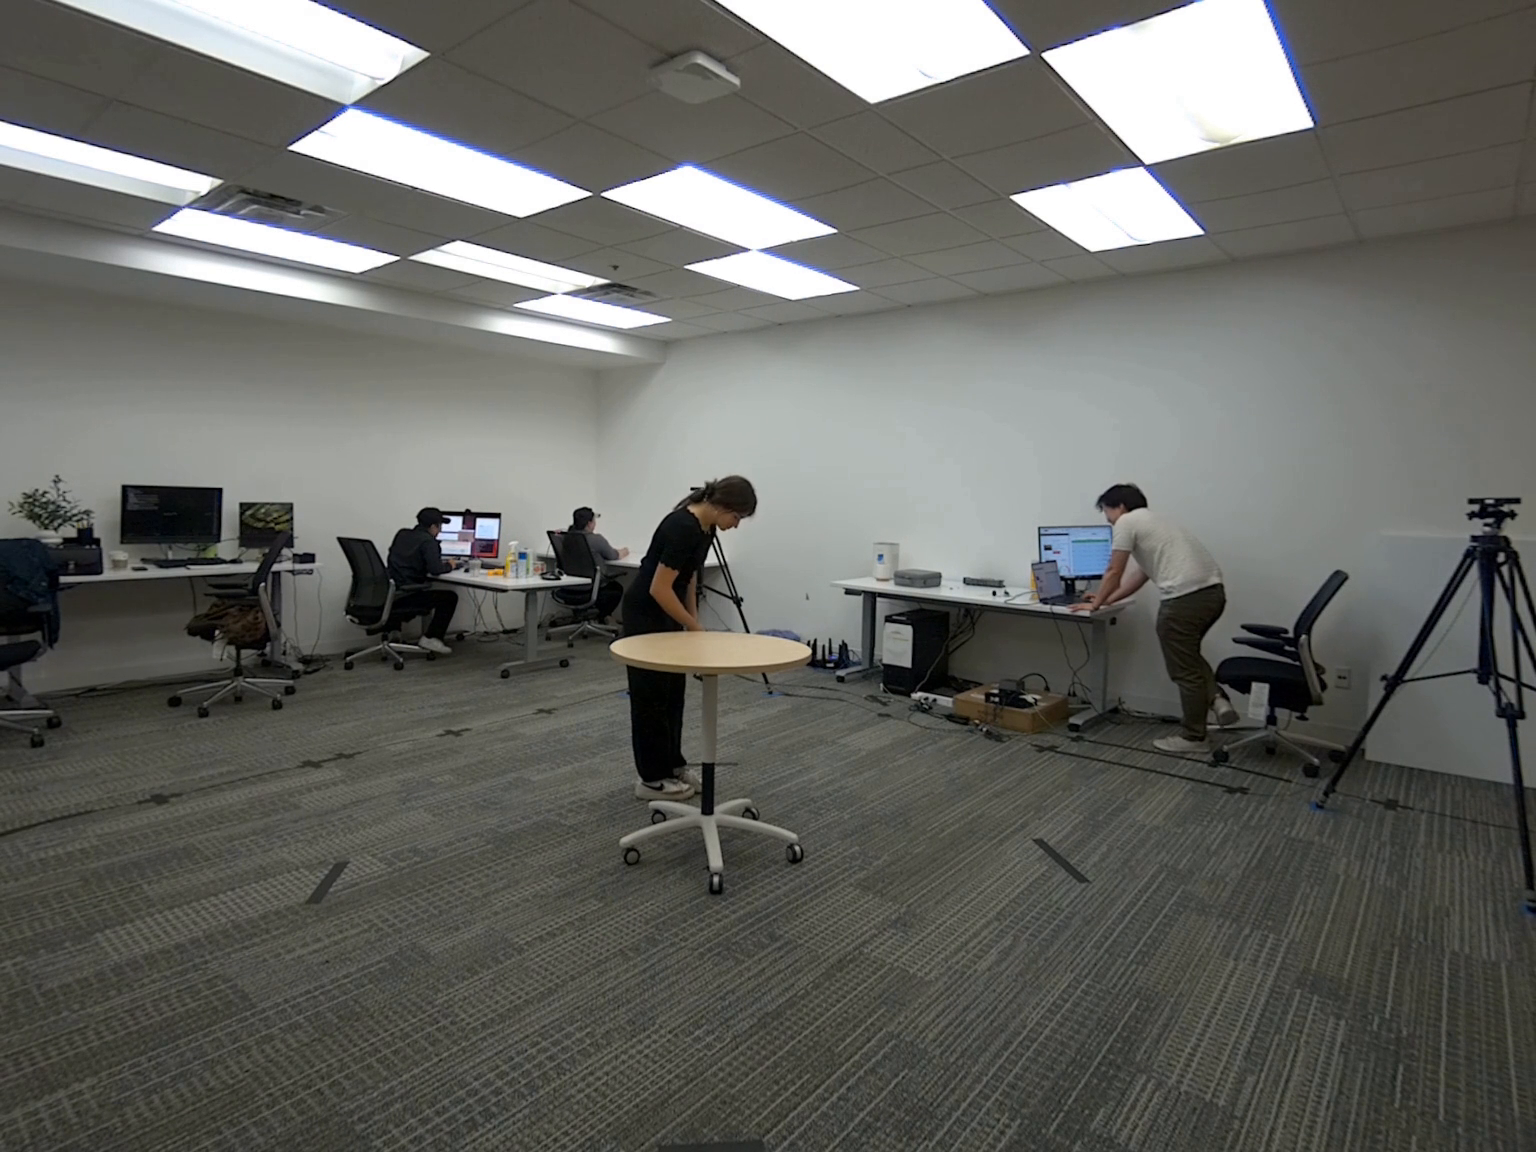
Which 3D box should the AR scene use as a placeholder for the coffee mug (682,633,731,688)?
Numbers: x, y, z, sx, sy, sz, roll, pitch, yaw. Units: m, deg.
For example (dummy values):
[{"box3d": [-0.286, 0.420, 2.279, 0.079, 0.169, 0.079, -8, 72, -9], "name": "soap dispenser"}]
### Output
[{"box3d": [-0.278, 0.373, 3.752, 0.085, 0.204, 0.126, 30, -11, -32], "name": "coffee mug"}]
